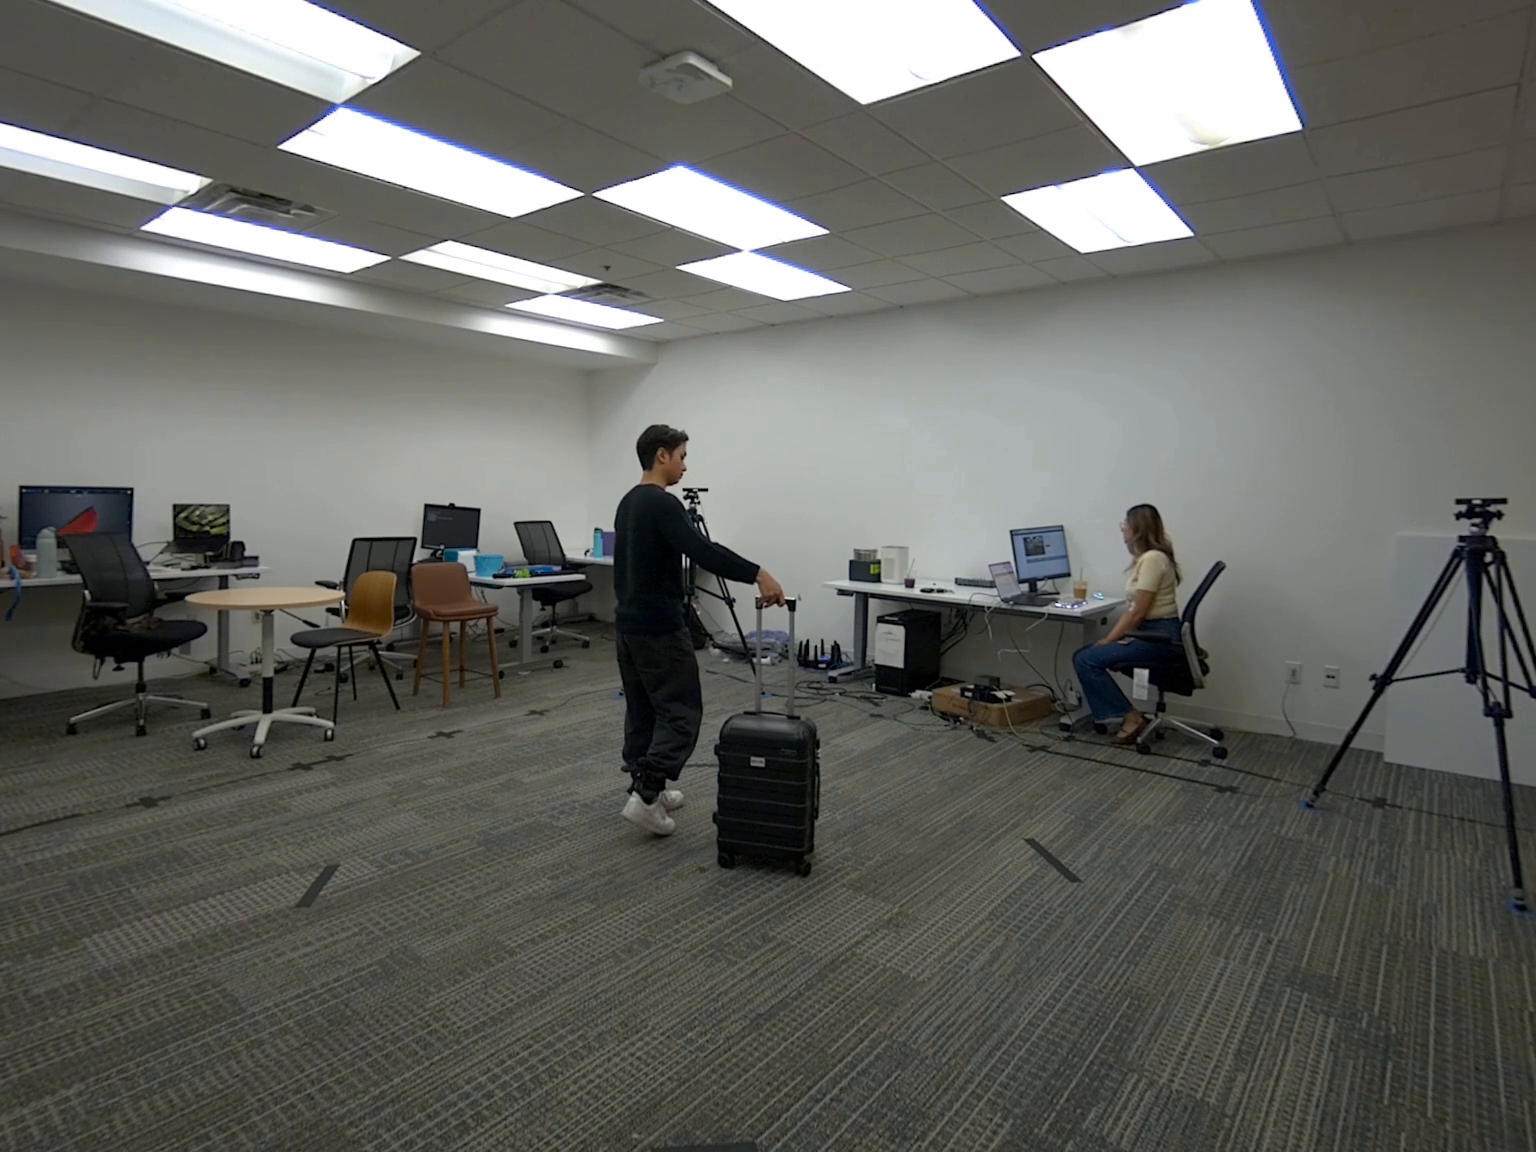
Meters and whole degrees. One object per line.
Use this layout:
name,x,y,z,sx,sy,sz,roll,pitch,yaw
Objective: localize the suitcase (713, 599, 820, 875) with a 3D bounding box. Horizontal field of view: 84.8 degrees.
suitcase,-0.002,0.593,3.170,0.390,0.973,0.255,2,5,13
